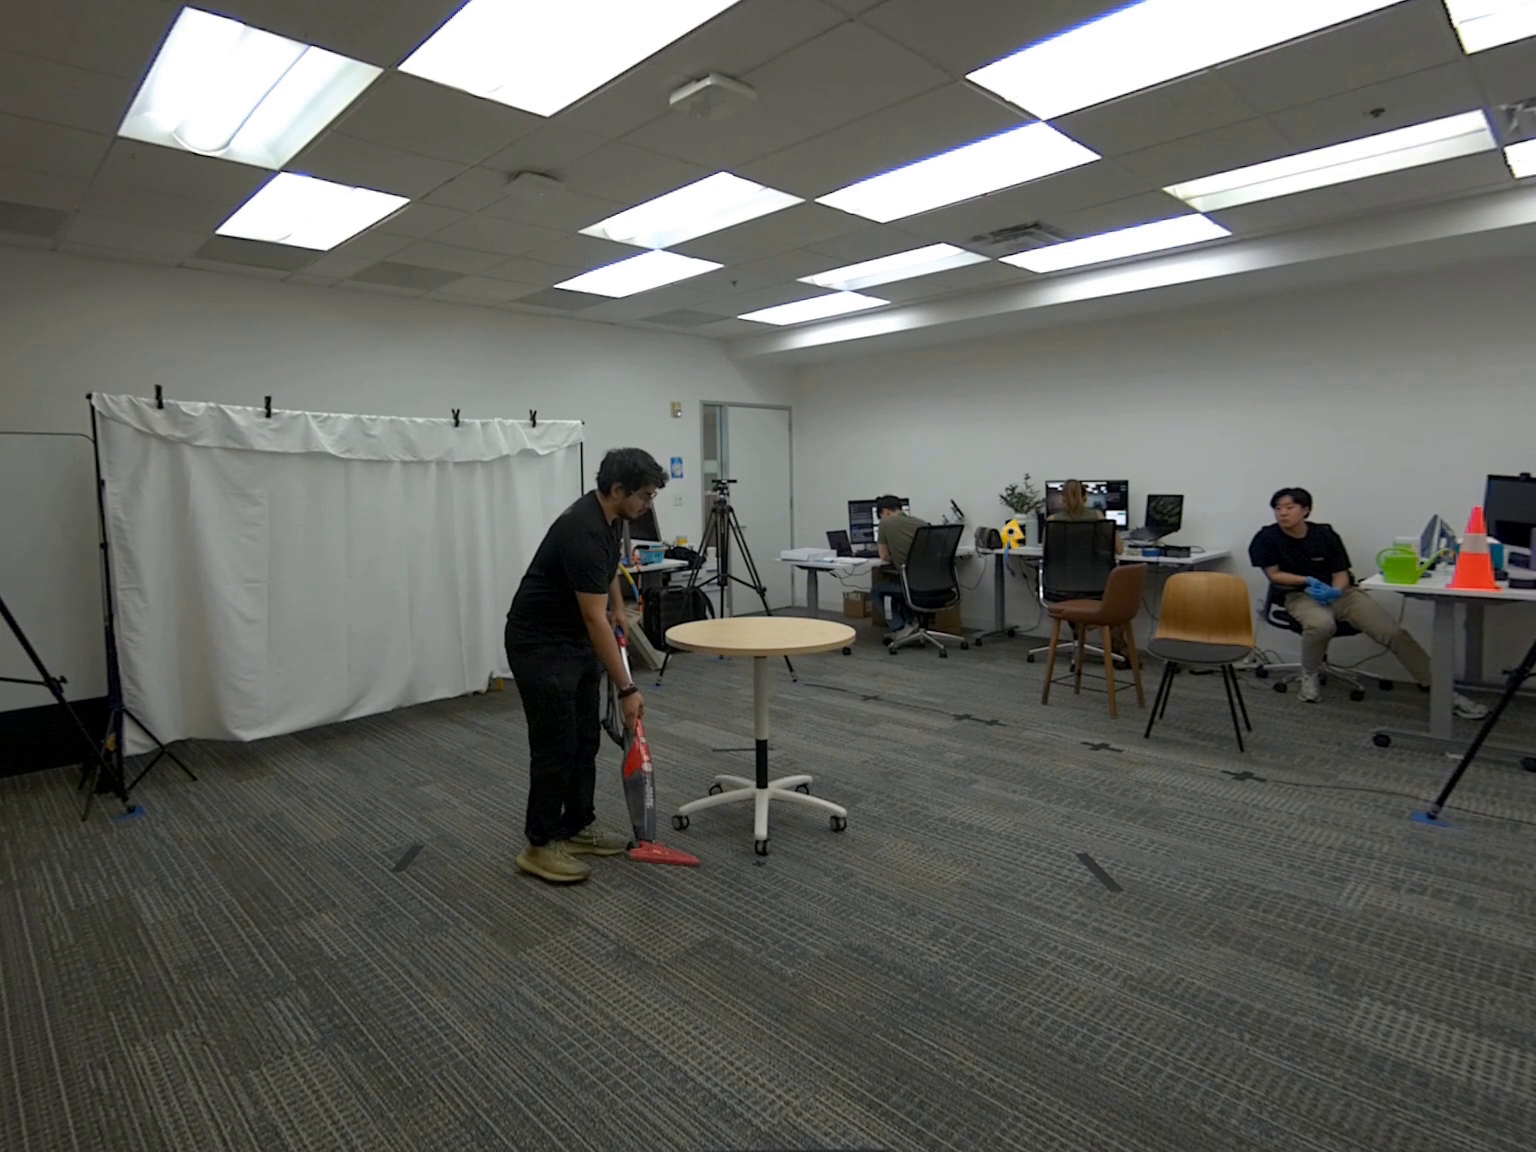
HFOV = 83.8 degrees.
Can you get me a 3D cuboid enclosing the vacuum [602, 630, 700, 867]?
[{"bbox_3d":[-0.467,0.494,2.946,0.244,0.143,1.087,18,34,-33],"label":"vacuum"}]
